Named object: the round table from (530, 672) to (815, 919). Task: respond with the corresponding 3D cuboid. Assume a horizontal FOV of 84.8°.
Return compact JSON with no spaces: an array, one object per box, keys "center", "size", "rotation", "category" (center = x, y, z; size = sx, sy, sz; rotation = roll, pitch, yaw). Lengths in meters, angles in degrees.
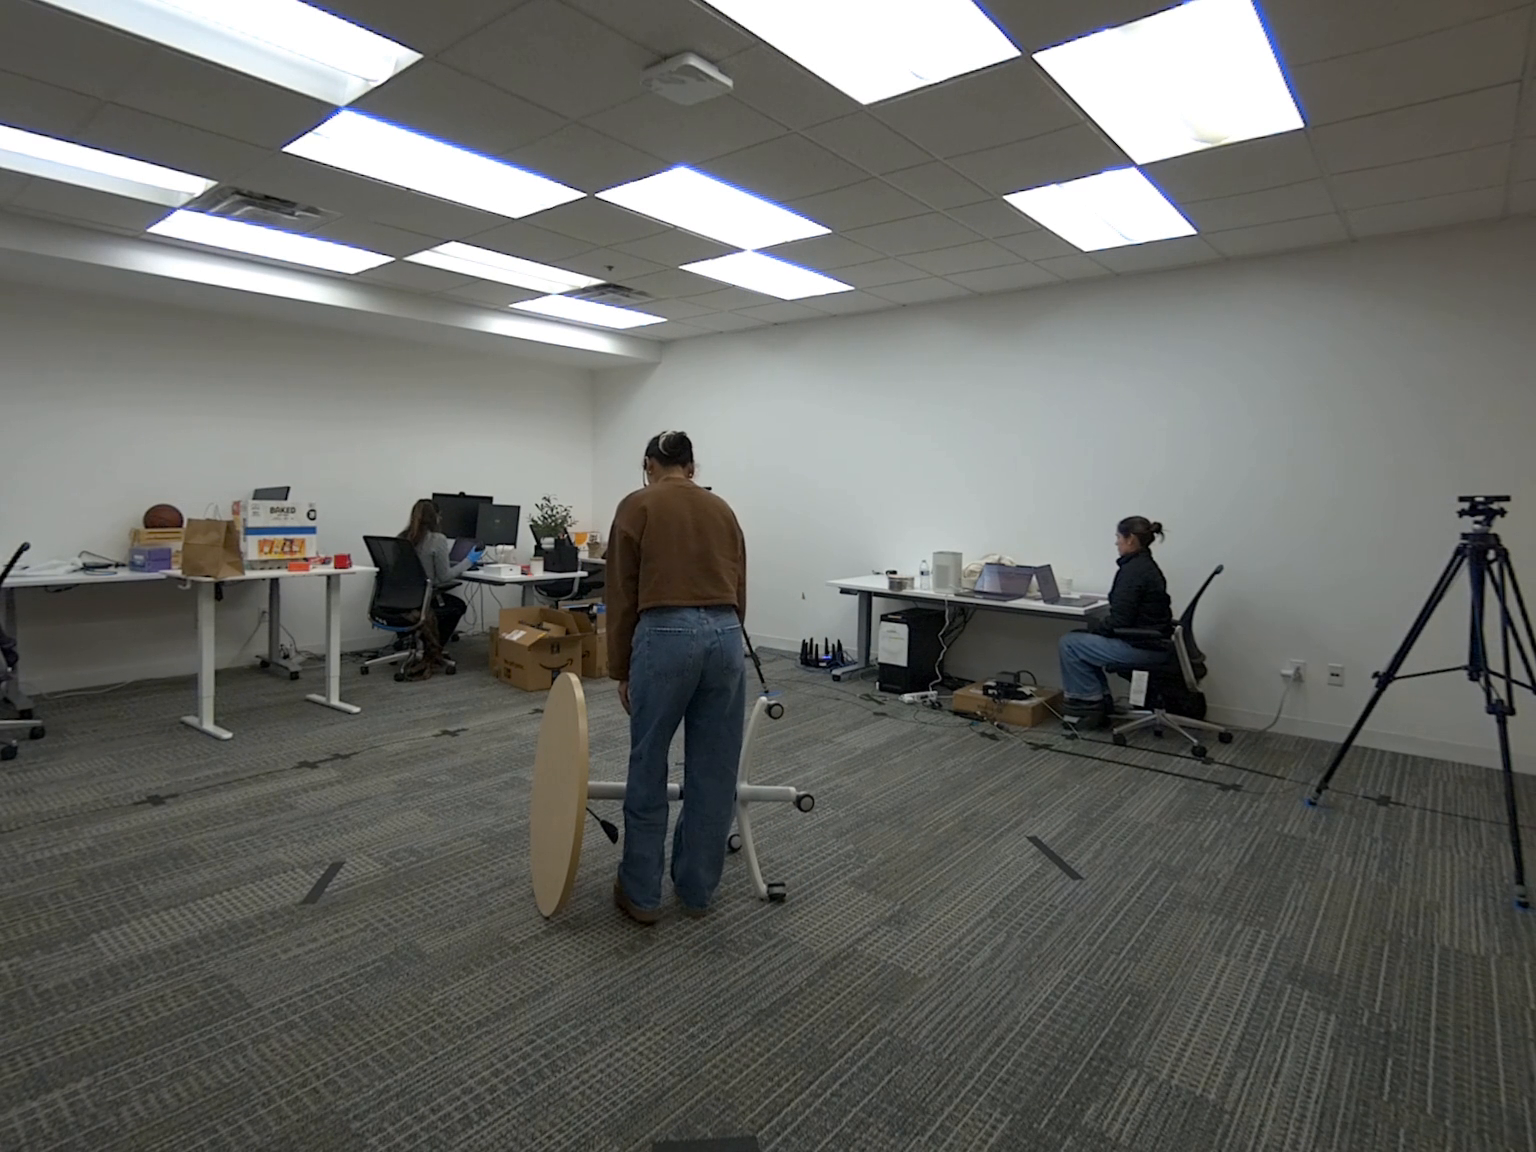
[{"center":[-0.358,0.755,2.947],"size":[0.776,0.763,0.782],"rotation":[7,1,-21],"category":"round table"}]
